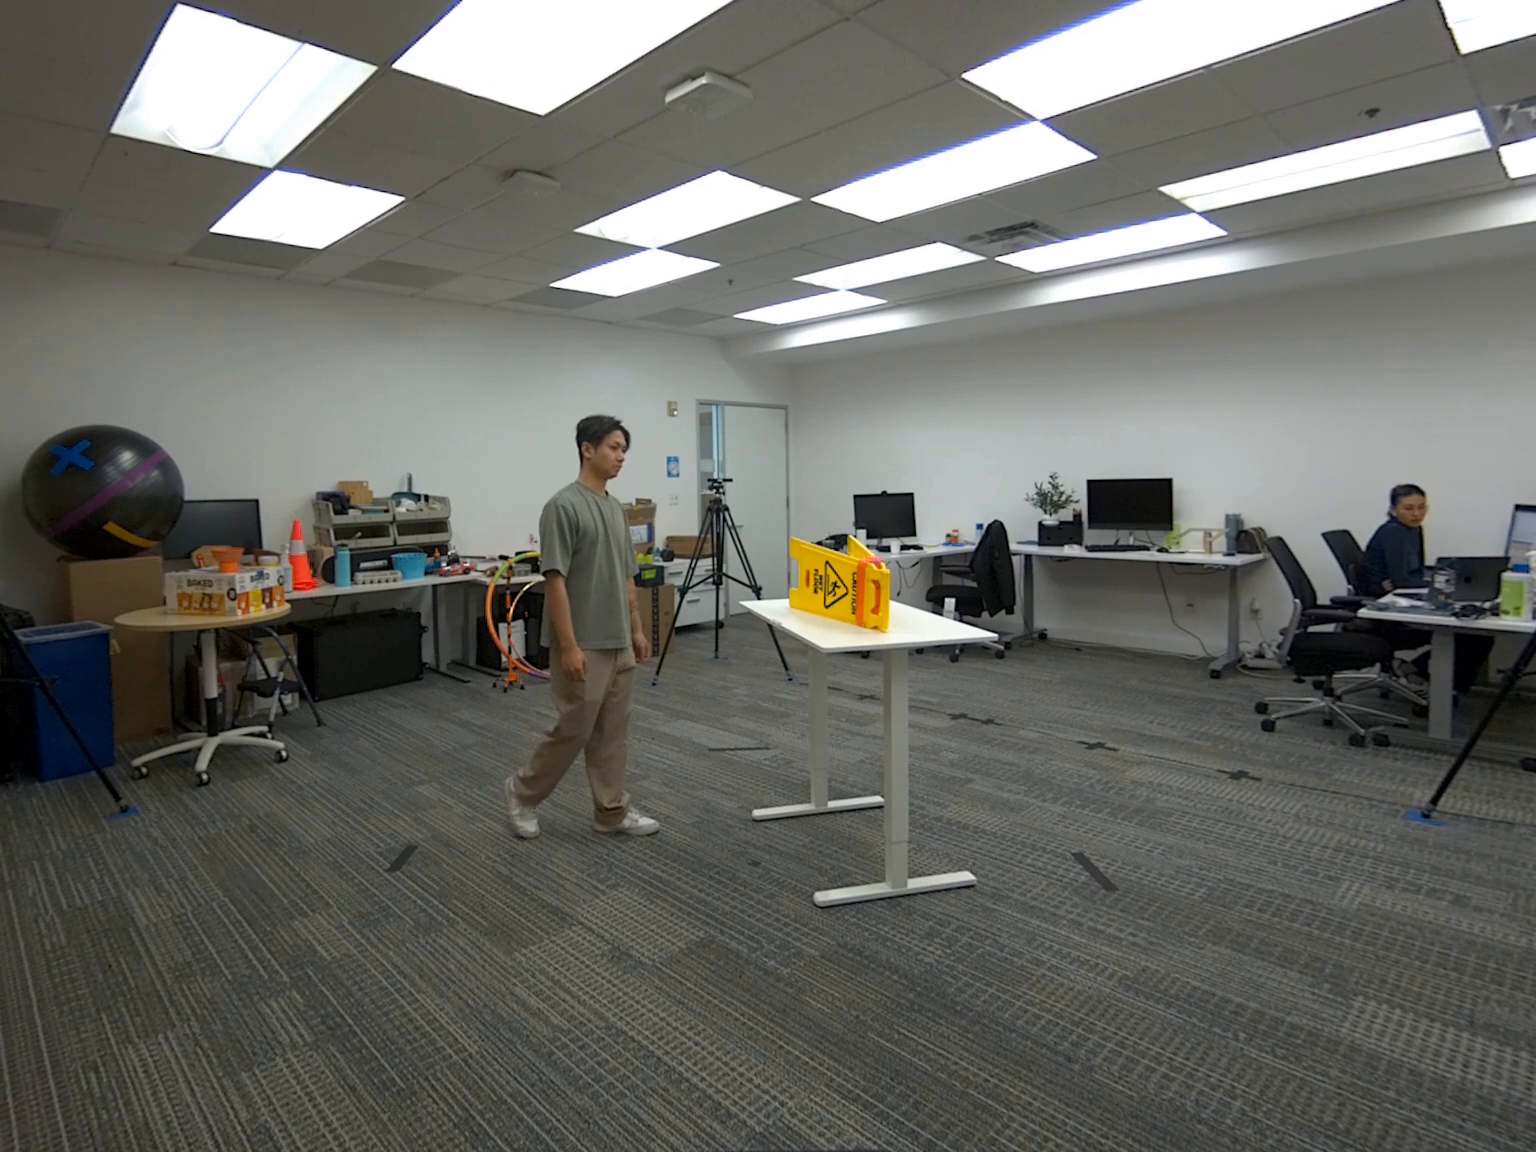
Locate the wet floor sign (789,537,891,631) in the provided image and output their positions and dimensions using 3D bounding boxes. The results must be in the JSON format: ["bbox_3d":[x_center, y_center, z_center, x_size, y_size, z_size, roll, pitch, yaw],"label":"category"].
[{"bbox_3d":[0.307,0.034,3.114,0.286,0.280,0.659,-3,9,-15],"label":"wet floor sign"}]
